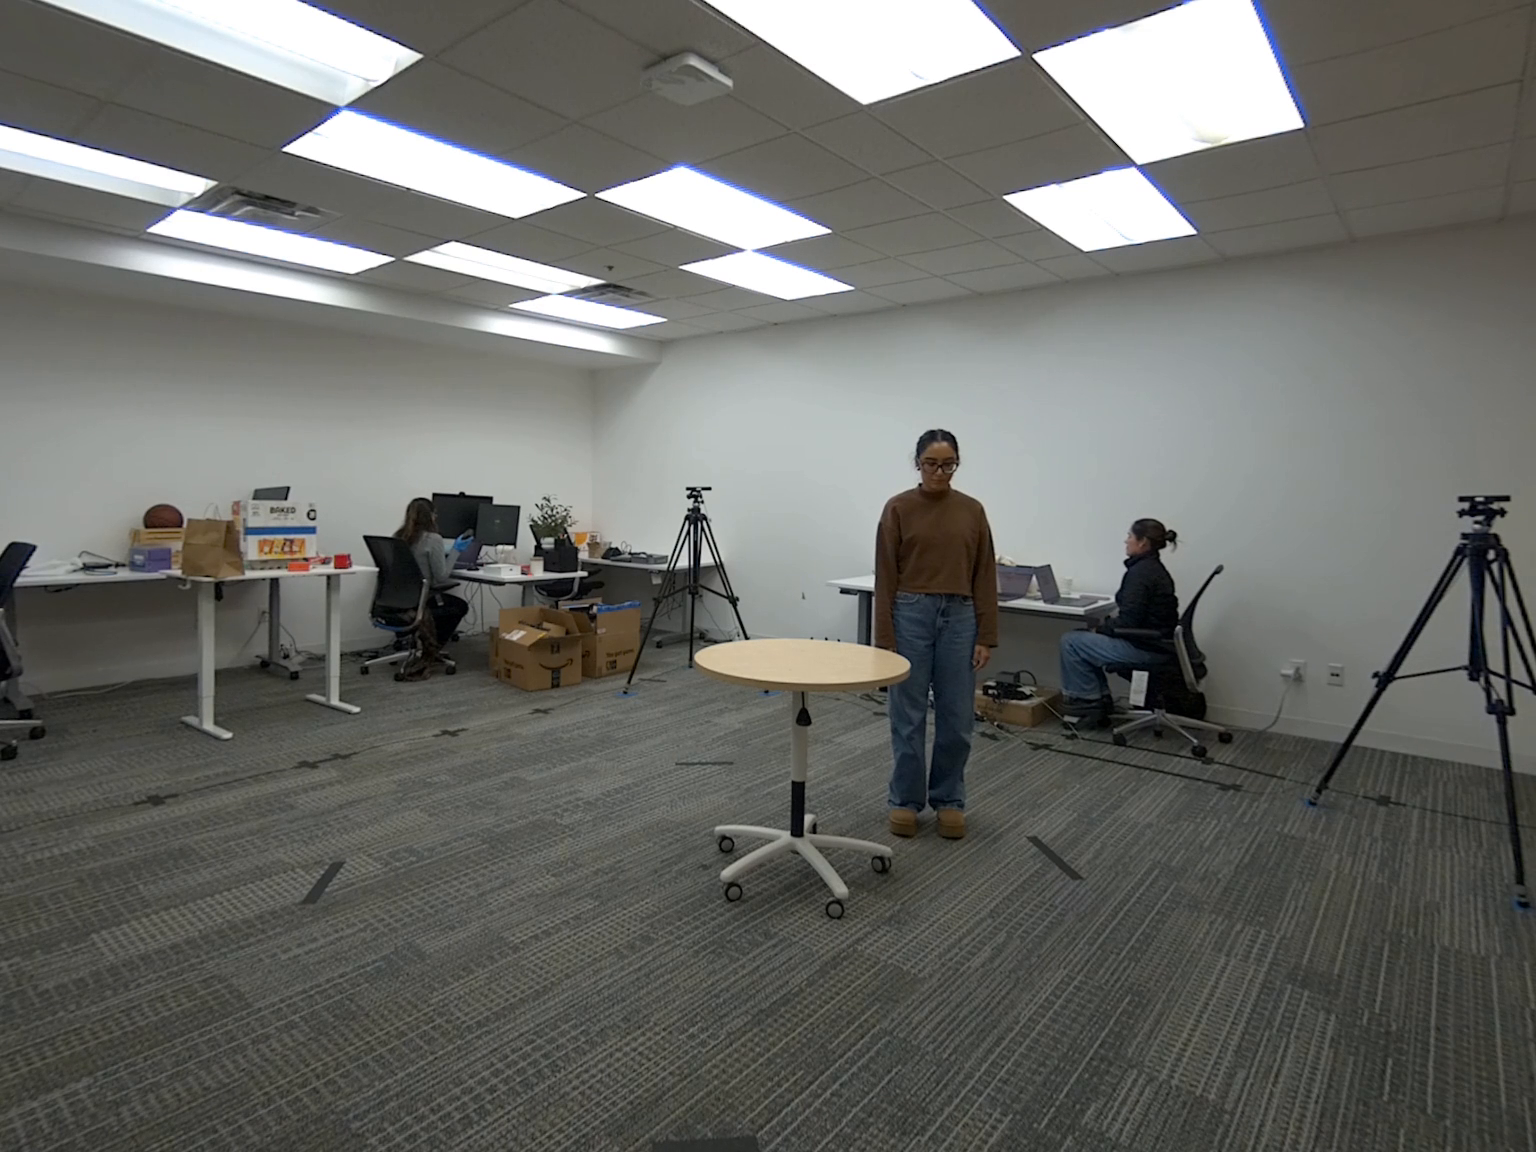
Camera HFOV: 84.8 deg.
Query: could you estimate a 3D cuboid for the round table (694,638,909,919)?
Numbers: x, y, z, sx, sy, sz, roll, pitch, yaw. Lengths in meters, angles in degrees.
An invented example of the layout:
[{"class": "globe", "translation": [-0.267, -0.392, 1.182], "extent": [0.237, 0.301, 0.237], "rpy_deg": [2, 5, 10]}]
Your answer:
[{"class": "round table", "translation": [0.097, 0.686, 3.062], "extent": [0.763, 0.791, 0.768], "rpy_deg": [1, 4, -2]}]
